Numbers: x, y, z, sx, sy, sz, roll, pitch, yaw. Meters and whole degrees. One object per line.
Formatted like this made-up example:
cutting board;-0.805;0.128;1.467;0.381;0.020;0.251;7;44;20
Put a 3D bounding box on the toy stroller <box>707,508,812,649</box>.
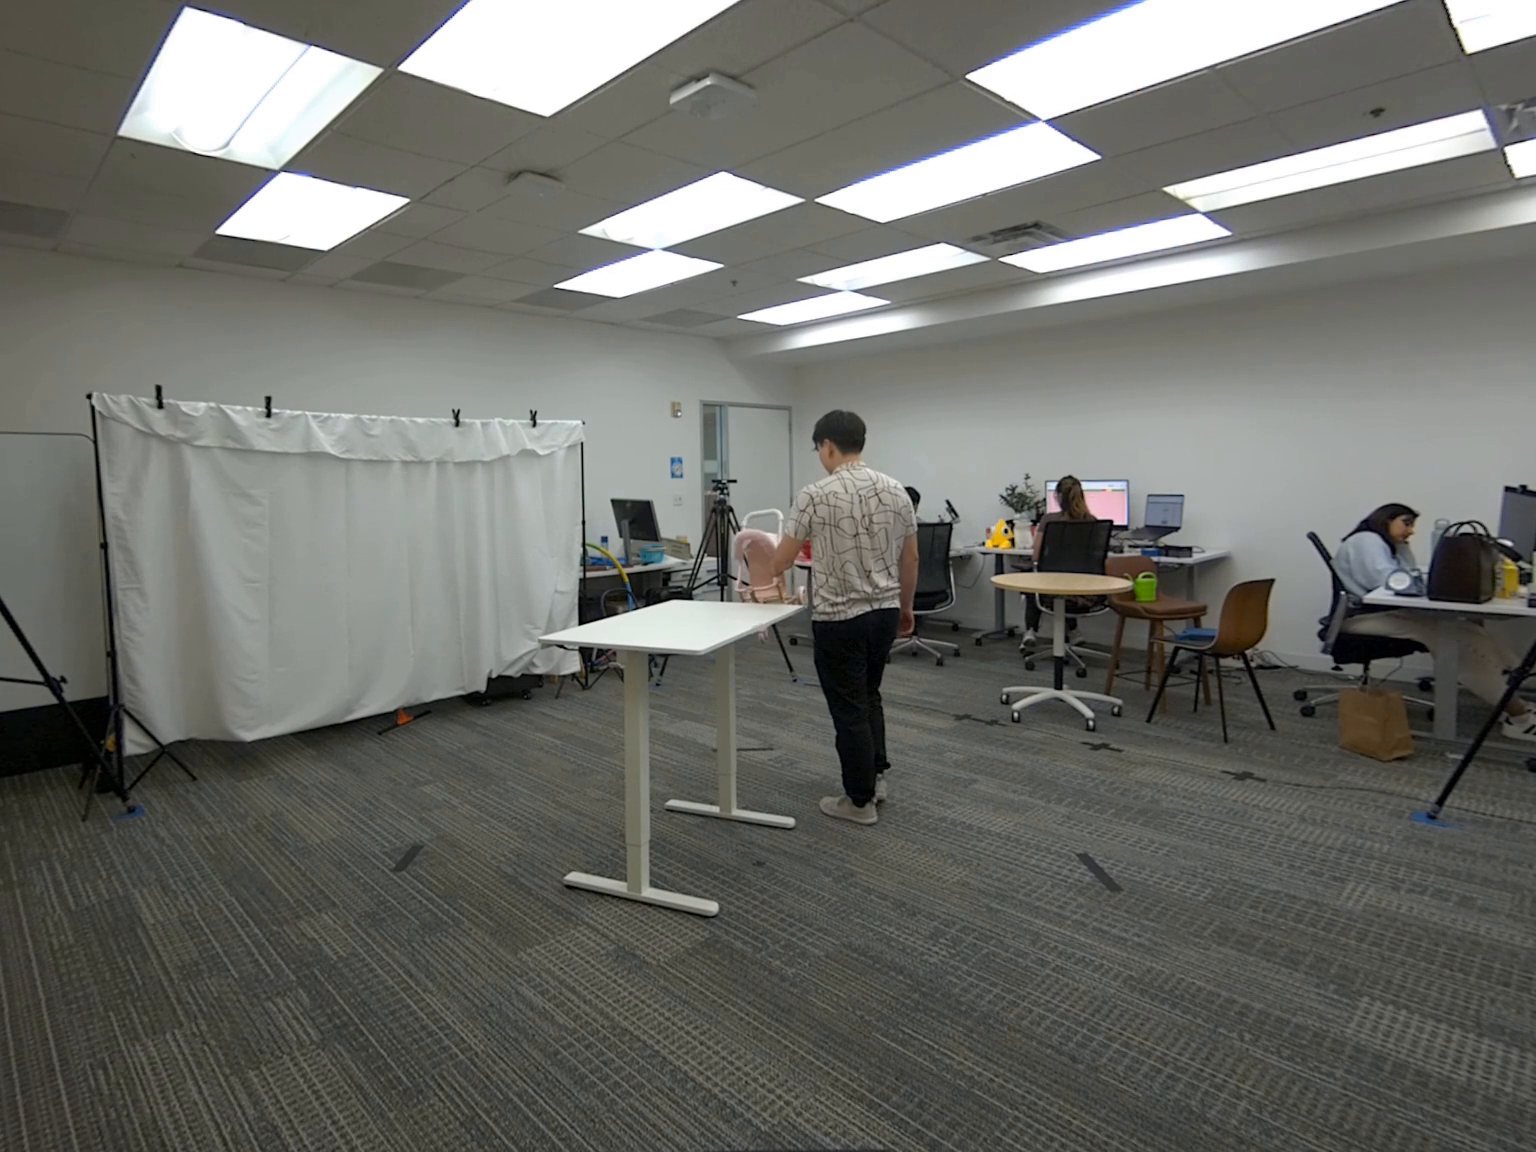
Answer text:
toy stroller;-0.021;0.009;3.875;0.287;0.527;0.339;-5;16;27
